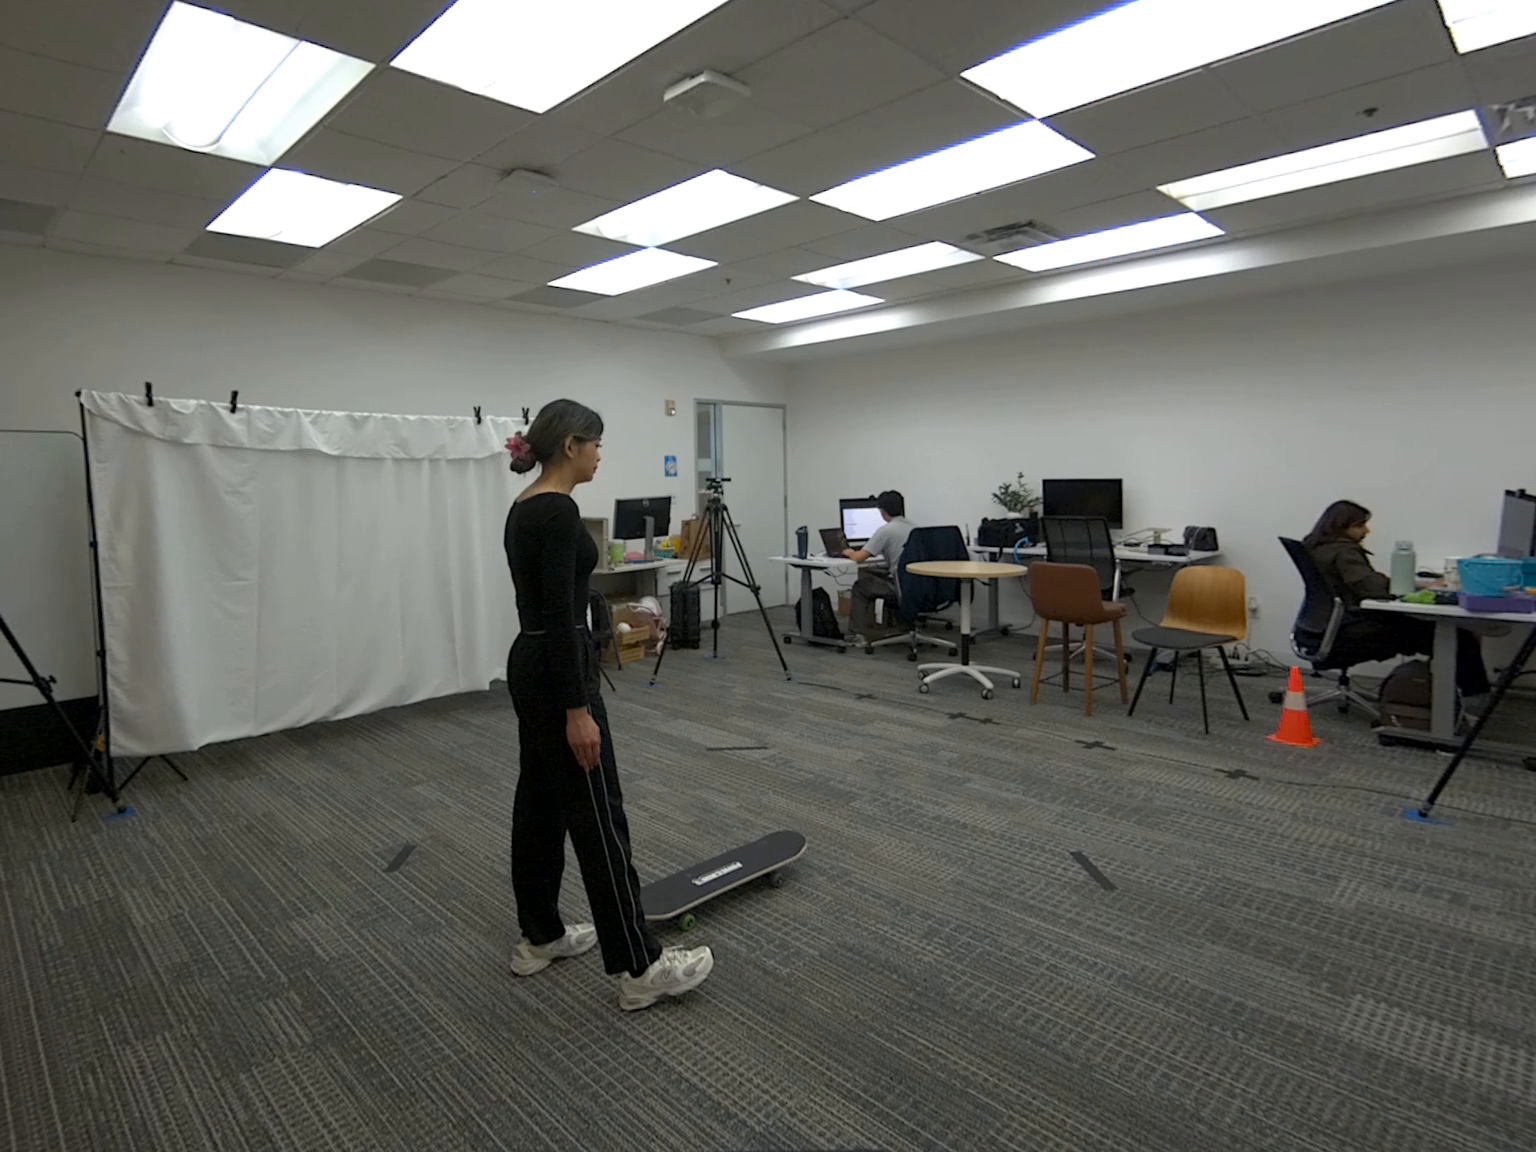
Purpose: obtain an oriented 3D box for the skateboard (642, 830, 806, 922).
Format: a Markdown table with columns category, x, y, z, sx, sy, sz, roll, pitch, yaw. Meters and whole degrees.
| category | x | y | z | sx | sy | sz | roll | pitch | yaw |
| --- | --- | --- | --- | --- | --- | --- | --- | --- | --- |
| skateboard | -0.163 | 1.021 | 2.841 | 0.765 | 0.110 | 0.199 | -8 | 9 | -44 |
